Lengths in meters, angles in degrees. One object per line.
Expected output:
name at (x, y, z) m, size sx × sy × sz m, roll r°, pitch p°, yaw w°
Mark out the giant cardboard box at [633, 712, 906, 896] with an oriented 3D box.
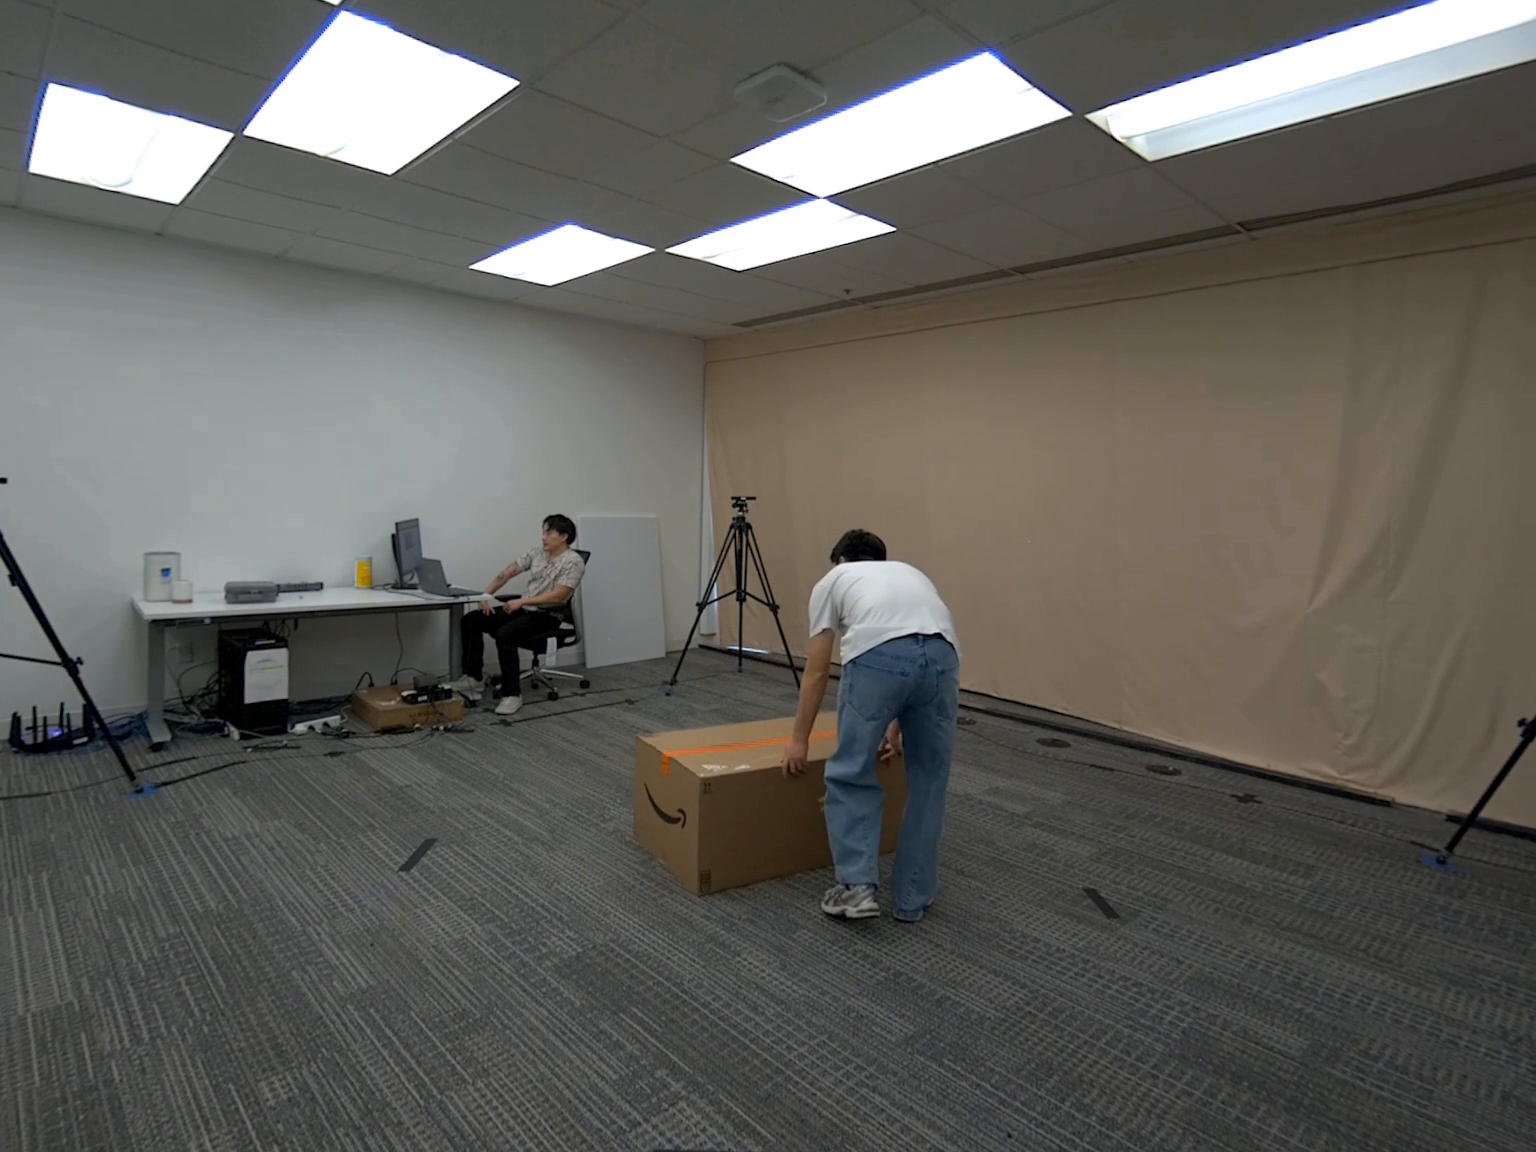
giant cardboard box at (0.035, 0.868, 3.418) m, size 1.005 × 0.425 × 0.591 m, roll -1°, pitch 5°, yaw -30°
